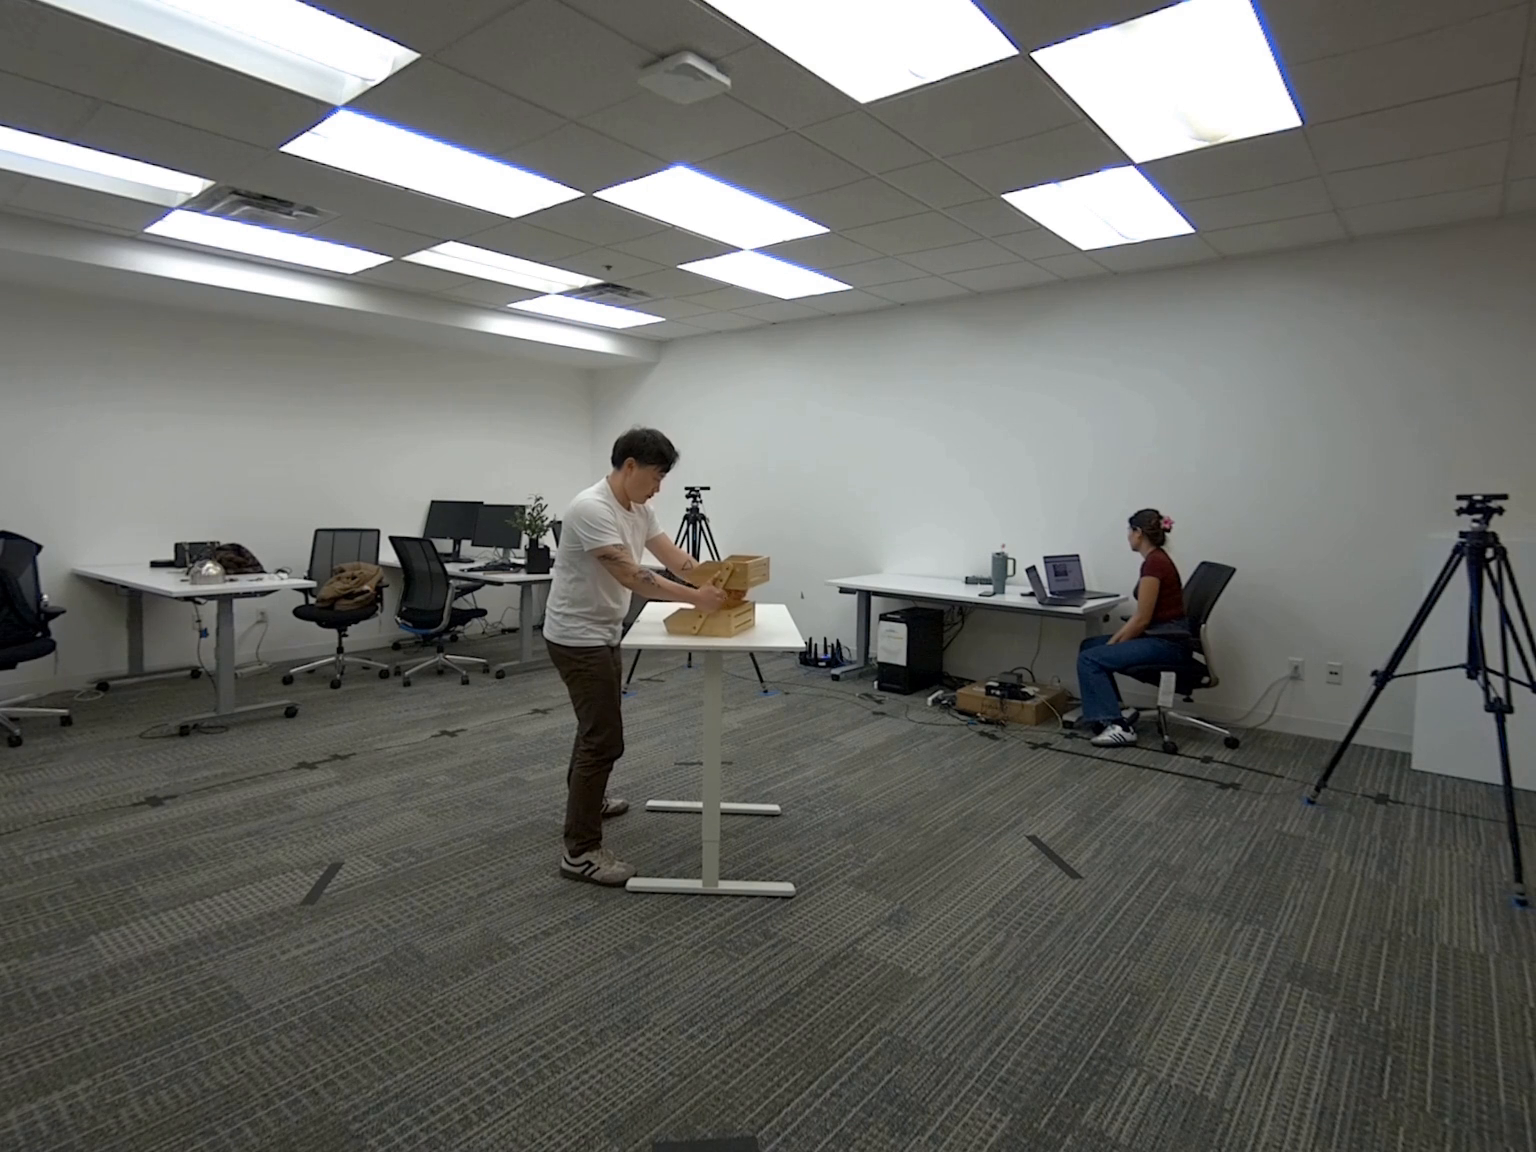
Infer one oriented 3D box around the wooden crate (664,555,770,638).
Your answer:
[{"bbox_3d":[-0.188,0.058,3.060,0.308,0.272,0.320,4,5,16],"label":"wooden crate"}]
